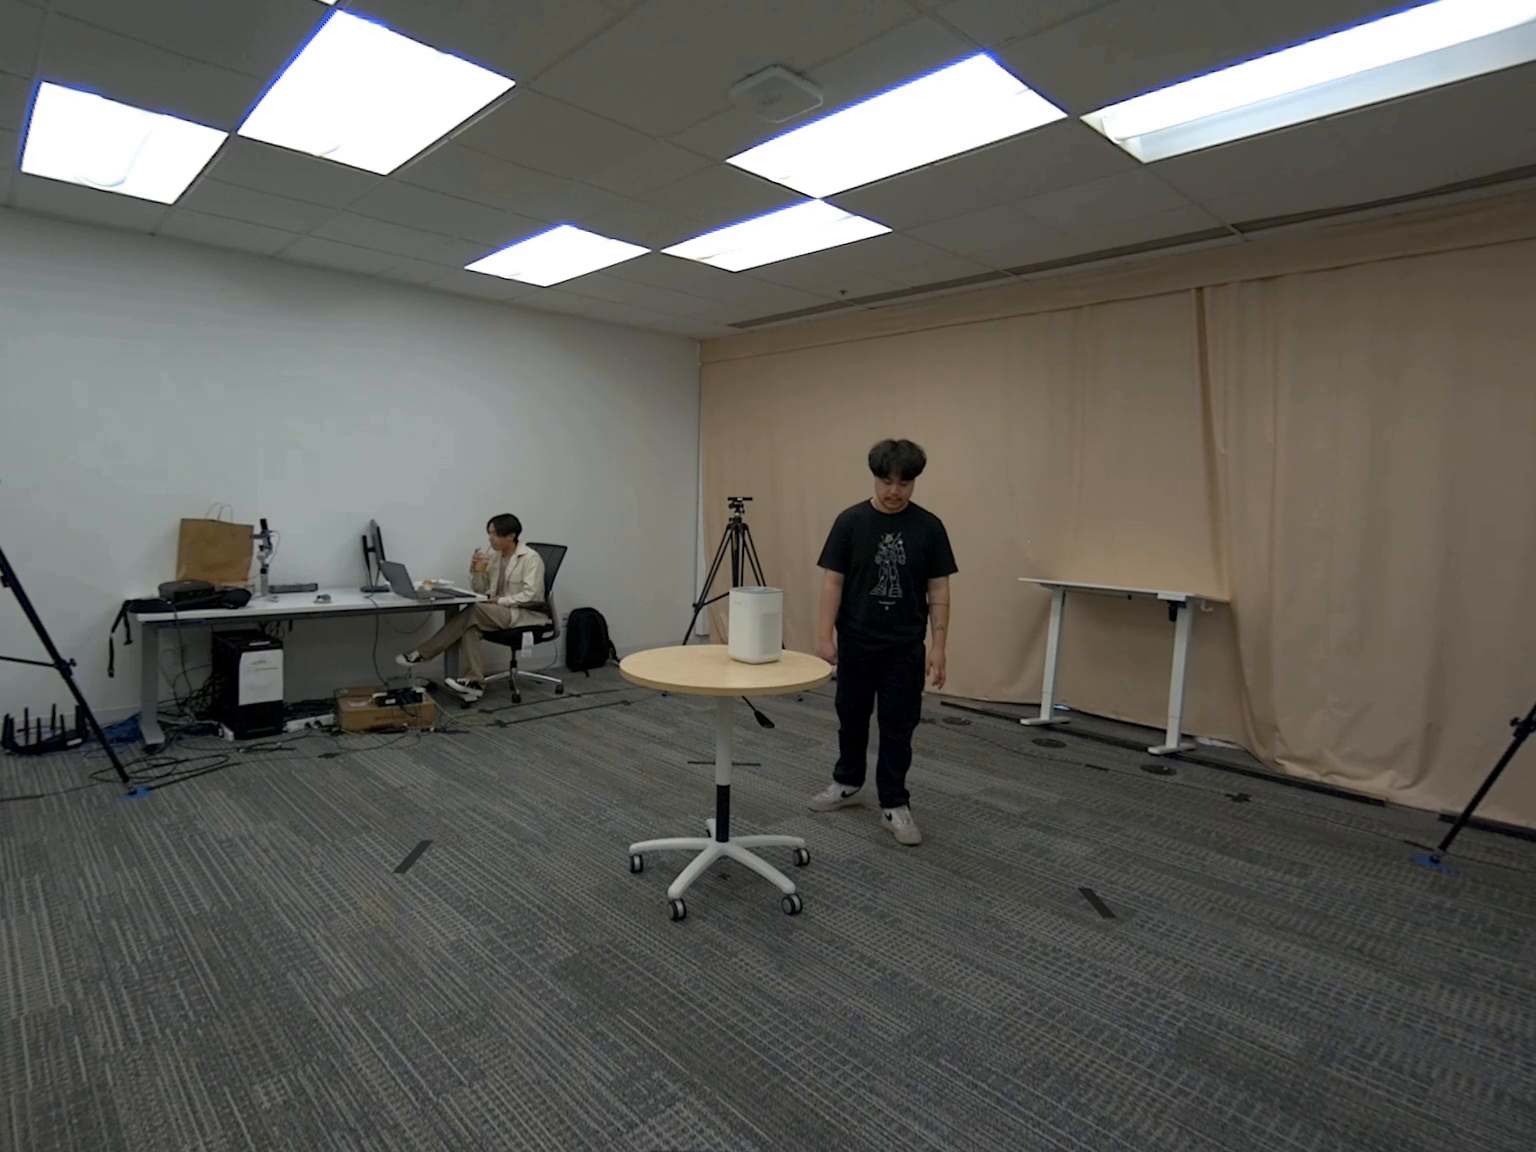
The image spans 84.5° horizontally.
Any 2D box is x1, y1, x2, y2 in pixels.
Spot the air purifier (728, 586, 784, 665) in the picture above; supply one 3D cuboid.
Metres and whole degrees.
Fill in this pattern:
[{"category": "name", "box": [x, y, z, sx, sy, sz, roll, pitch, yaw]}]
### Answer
[{"category": "air purifier", "box": [-0.051, 0.178, 3.121, 0.168, 0.265, 0.175, -3, 5, -43]}]
